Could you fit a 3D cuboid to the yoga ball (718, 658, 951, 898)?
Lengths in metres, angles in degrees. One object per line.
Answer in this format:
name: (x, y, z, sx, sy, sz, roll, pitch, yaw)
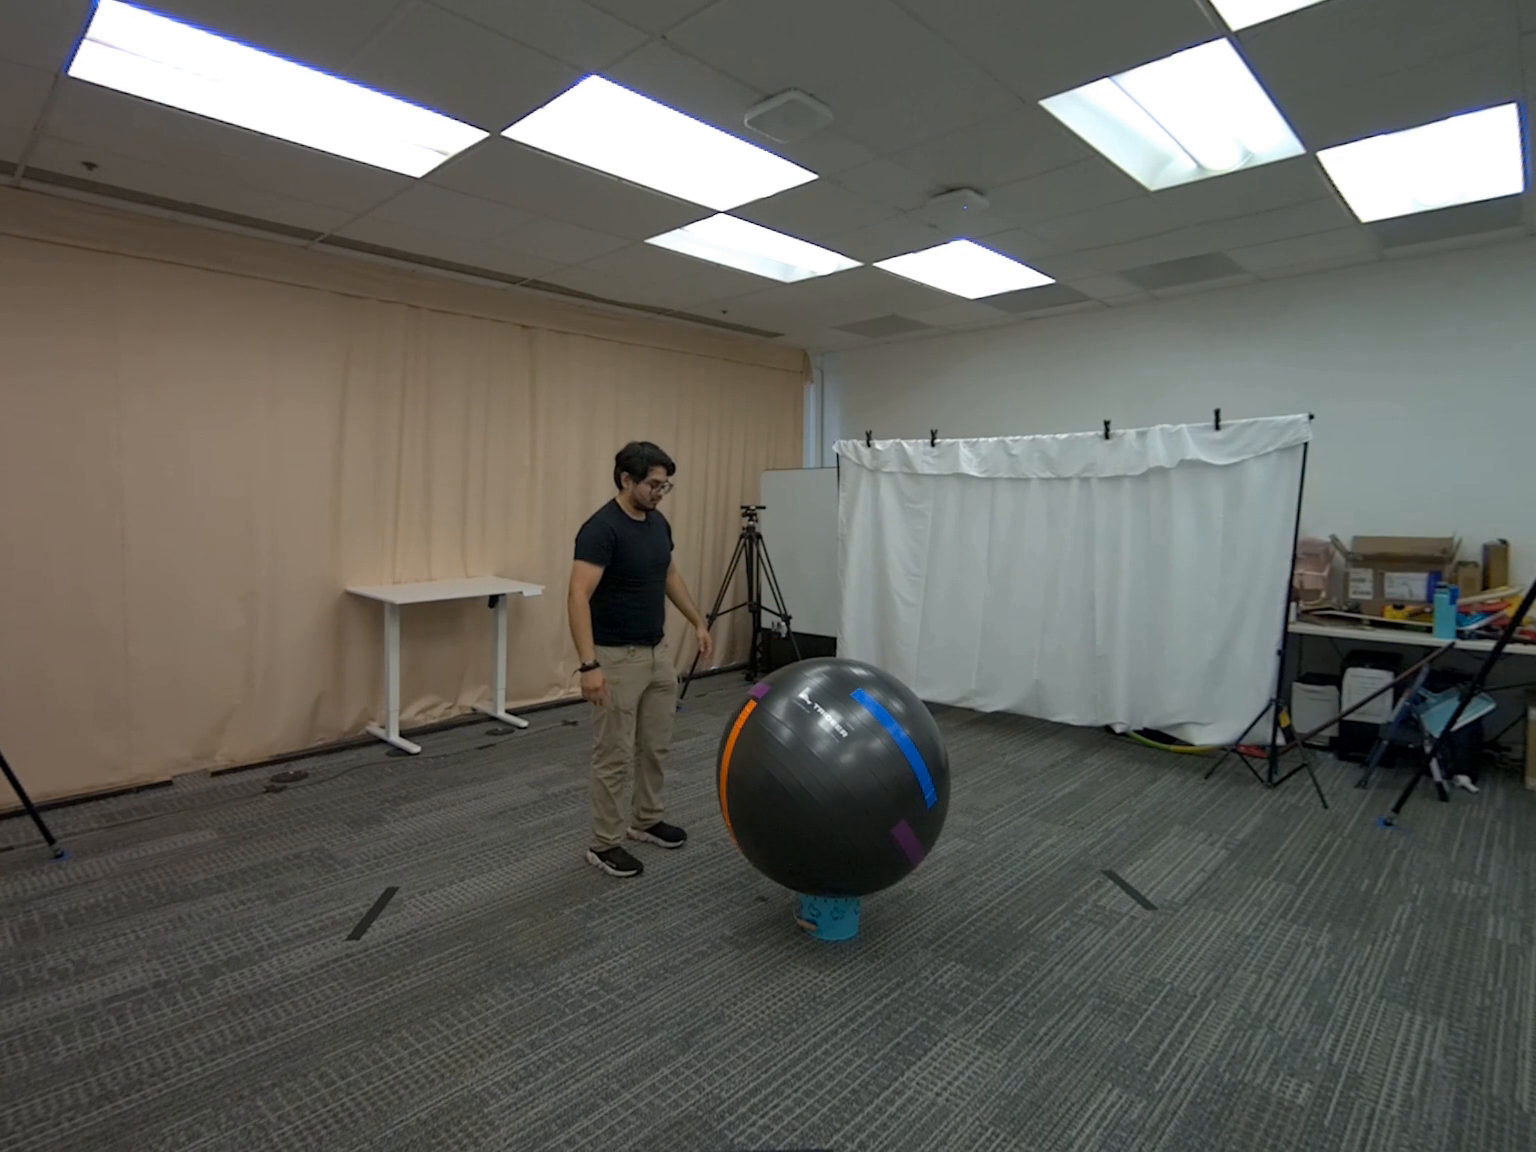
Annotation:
yoga ball: (0.213, 0.652, 2.763, 0.757, 0.756, 0.761, 0, 4, -2)
